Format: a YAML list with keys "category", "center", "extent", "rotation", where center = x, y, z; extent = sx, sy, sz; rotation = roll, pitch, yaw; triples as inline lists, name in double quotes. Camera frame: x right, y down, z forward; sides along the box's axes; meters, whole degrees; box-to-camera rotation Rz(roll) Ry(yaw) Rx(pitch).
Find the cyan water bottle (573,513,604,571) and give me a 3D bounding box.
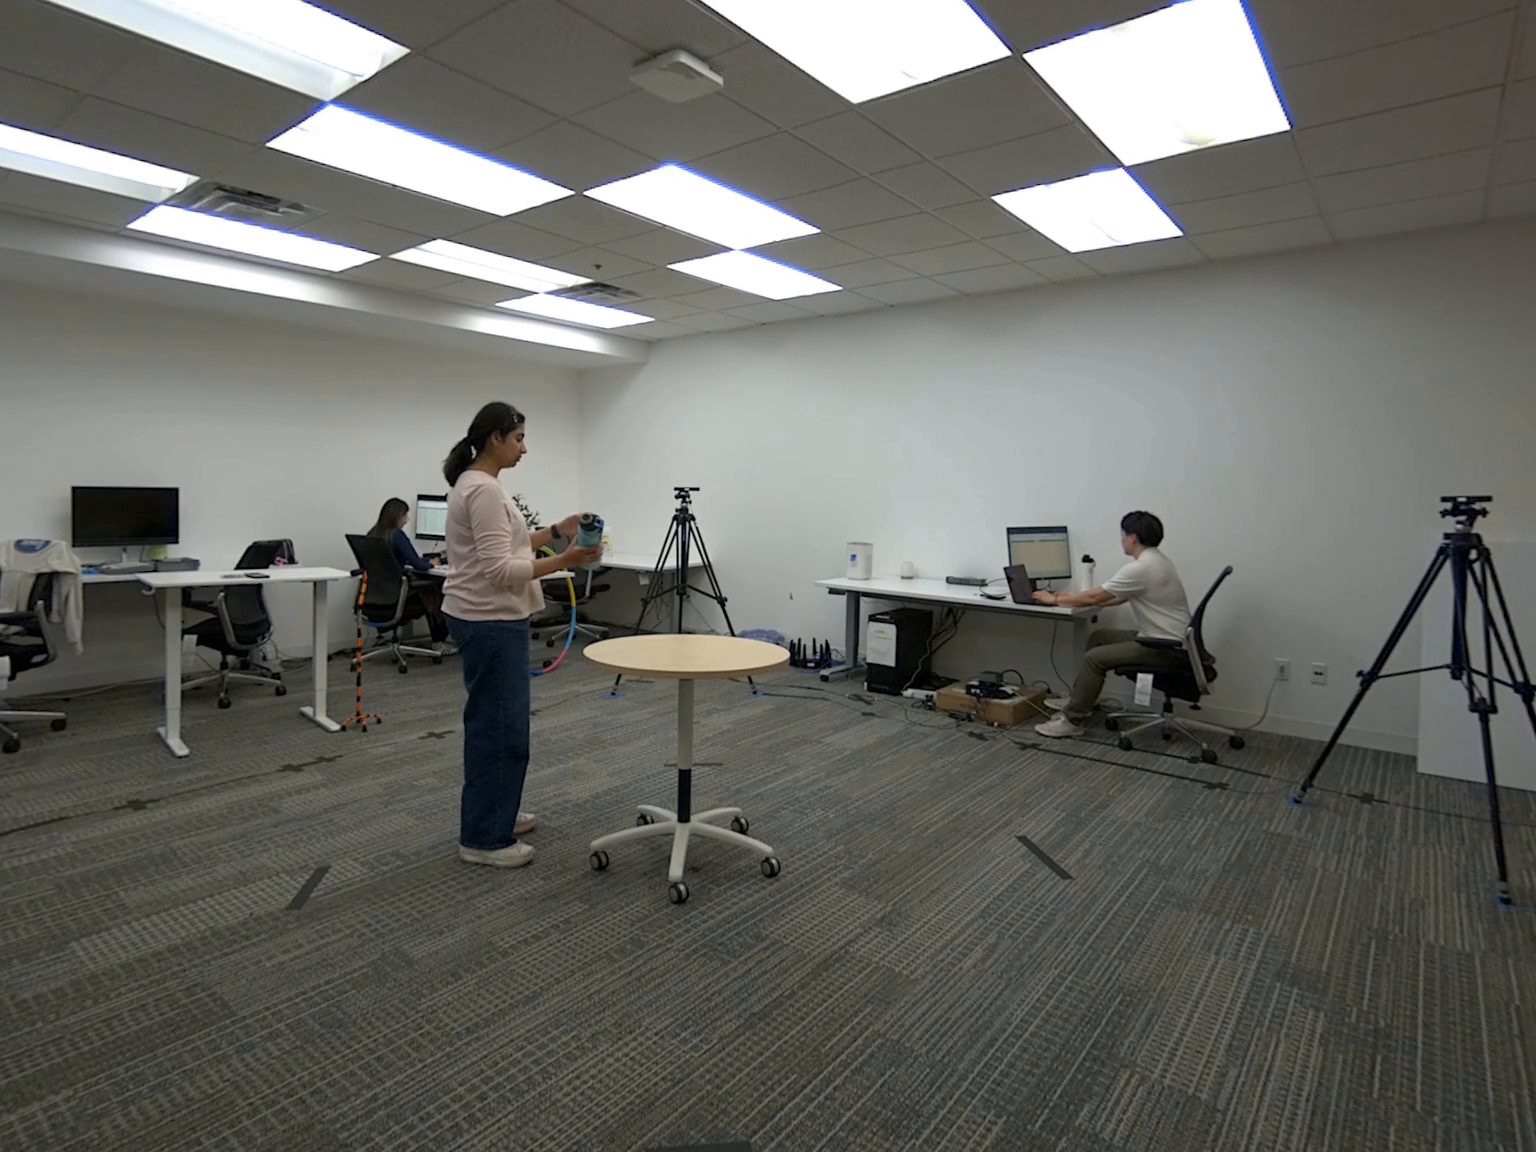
- category: "cyan water bottle"
  center: [-0.681, -0.132, 3.176]
  extent: [0.091, 0.095, 0.278]
  rotation: [1, -34, -12]
